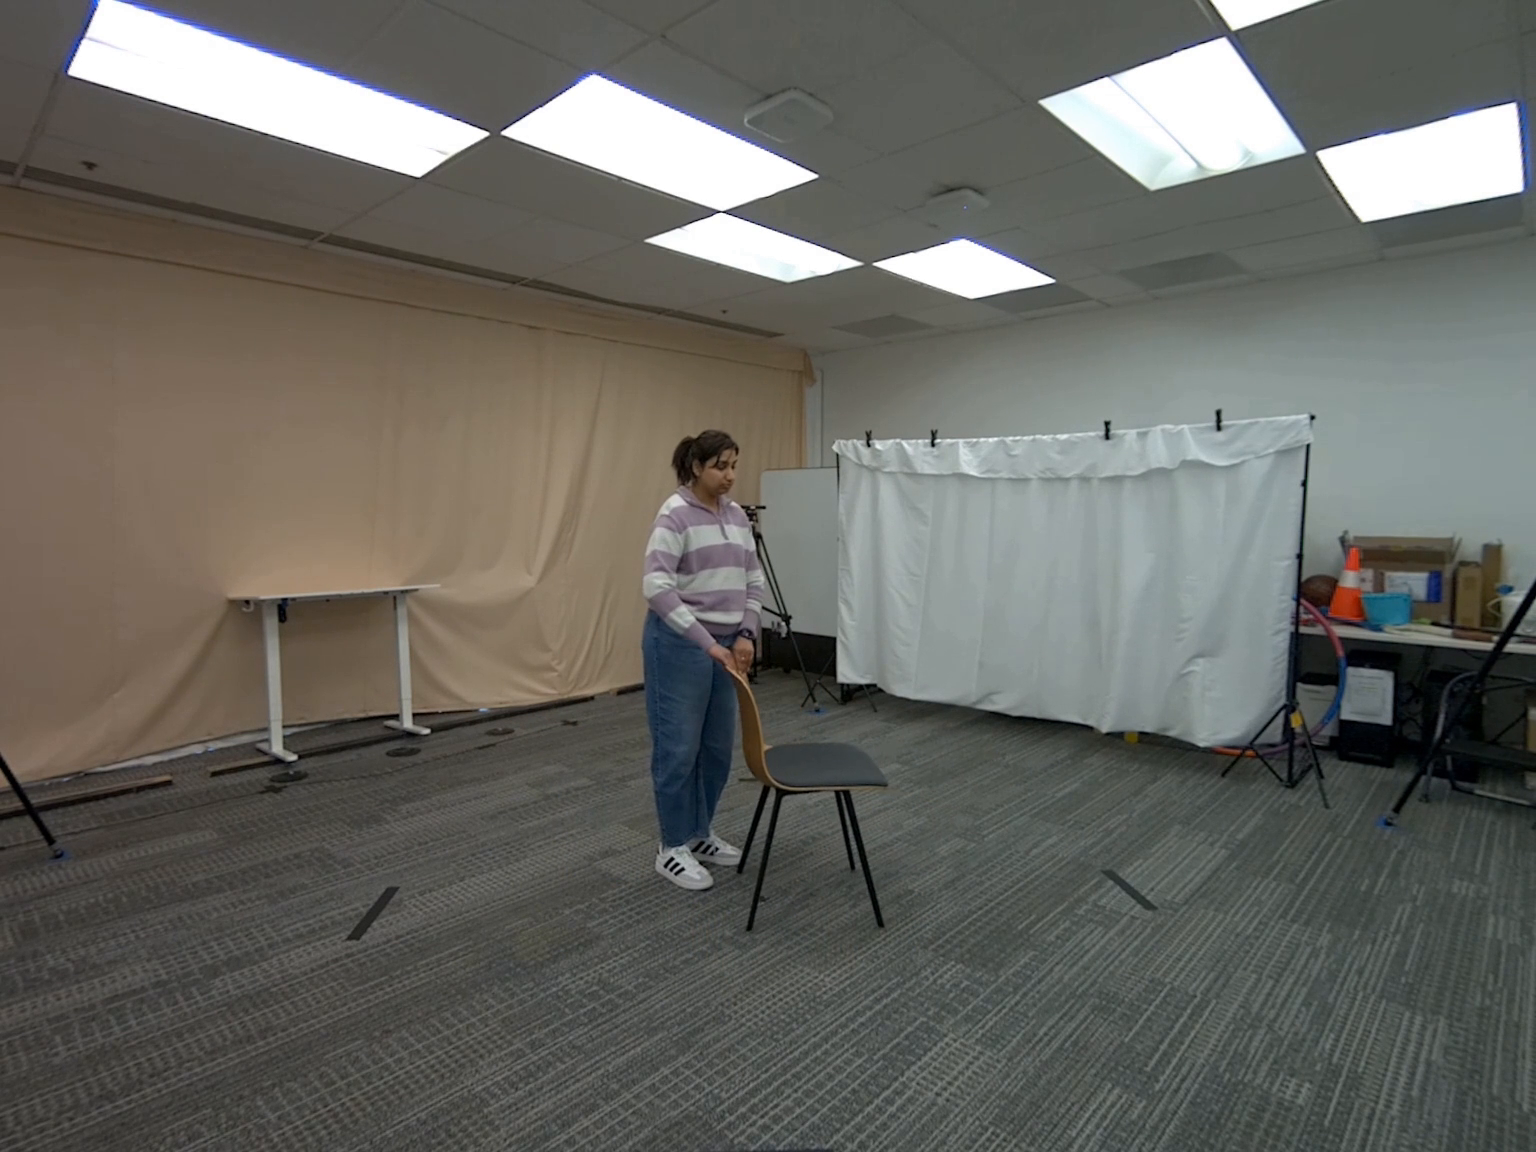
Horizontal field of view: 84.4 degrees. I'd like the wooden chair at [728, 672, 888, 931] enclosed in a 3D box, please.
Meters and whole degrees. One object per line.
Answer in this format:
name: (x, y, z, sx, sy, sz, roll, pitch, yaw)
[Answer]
wooden chair: (0.147, 0.719, 2.957, 0.520, 0.876, 0.482, -4, 3, -6)
